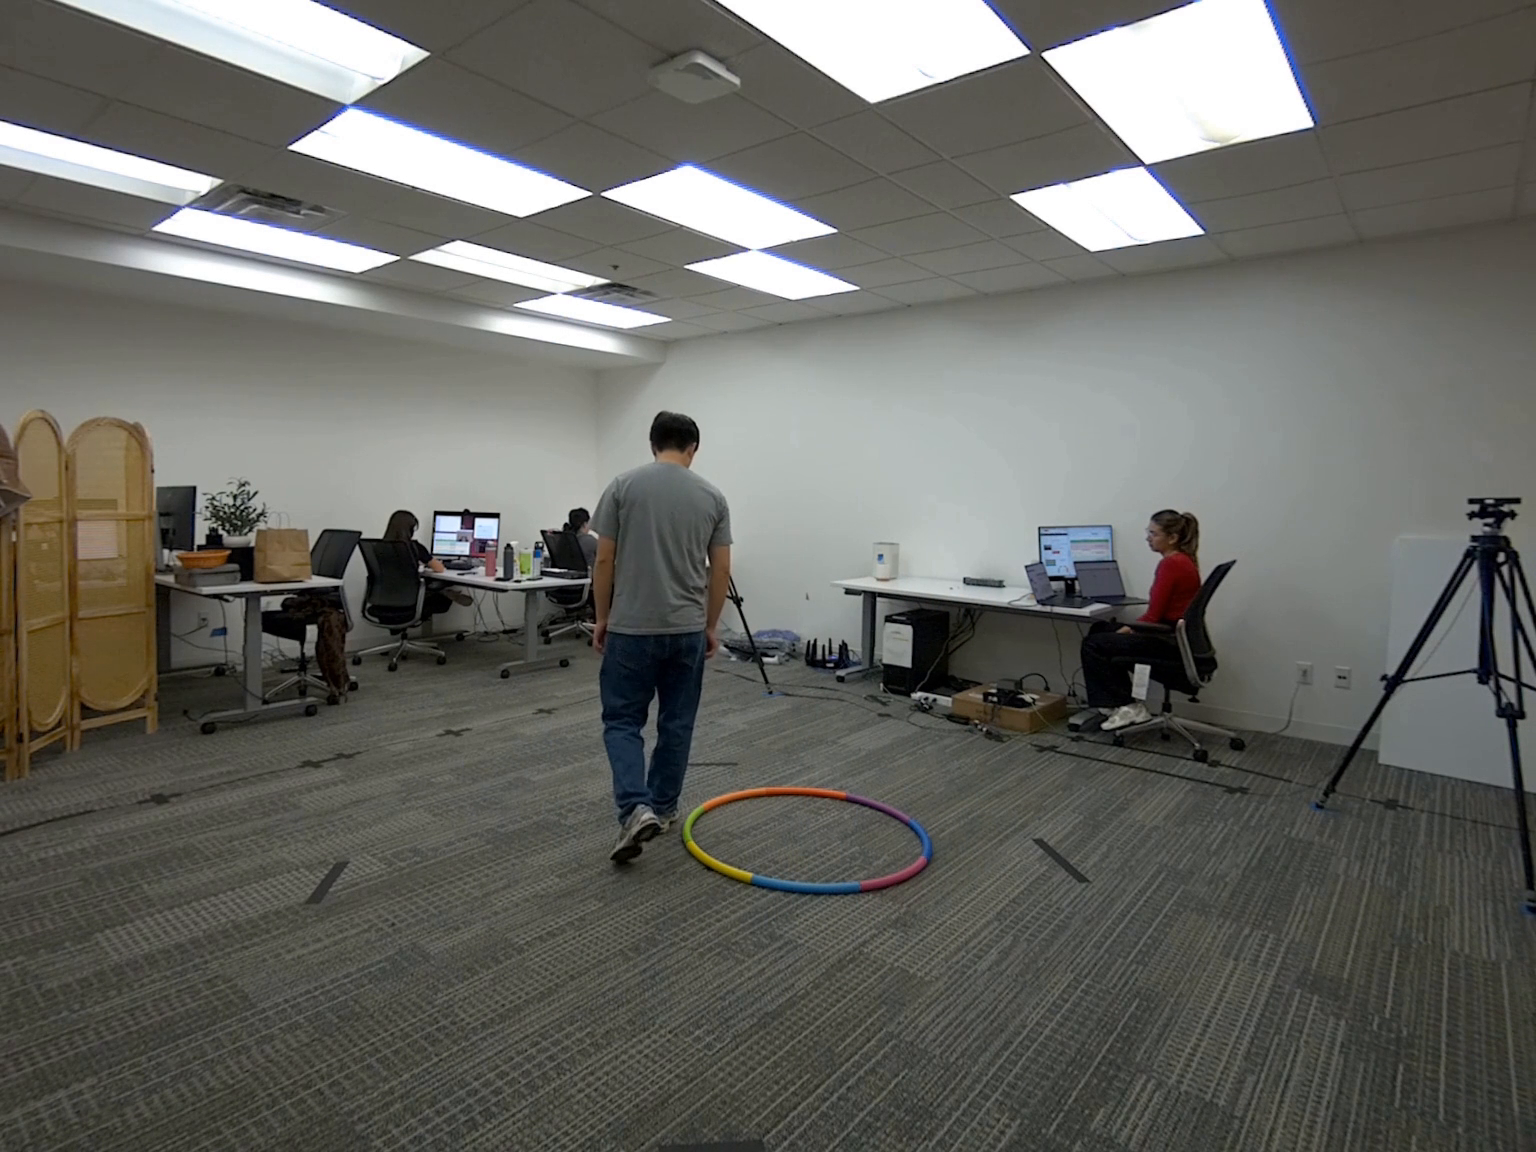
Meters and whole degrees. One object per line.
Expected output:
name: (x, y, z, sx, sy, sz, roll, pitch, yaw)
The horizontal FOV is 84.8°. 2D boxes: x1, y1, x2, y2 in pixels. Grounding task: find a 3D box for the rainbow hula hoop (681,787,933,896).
rainbow hula hoop: (0.137, 1.017, 3.401, 0.978, 0.035, 0.984, 1, 6, -2)
